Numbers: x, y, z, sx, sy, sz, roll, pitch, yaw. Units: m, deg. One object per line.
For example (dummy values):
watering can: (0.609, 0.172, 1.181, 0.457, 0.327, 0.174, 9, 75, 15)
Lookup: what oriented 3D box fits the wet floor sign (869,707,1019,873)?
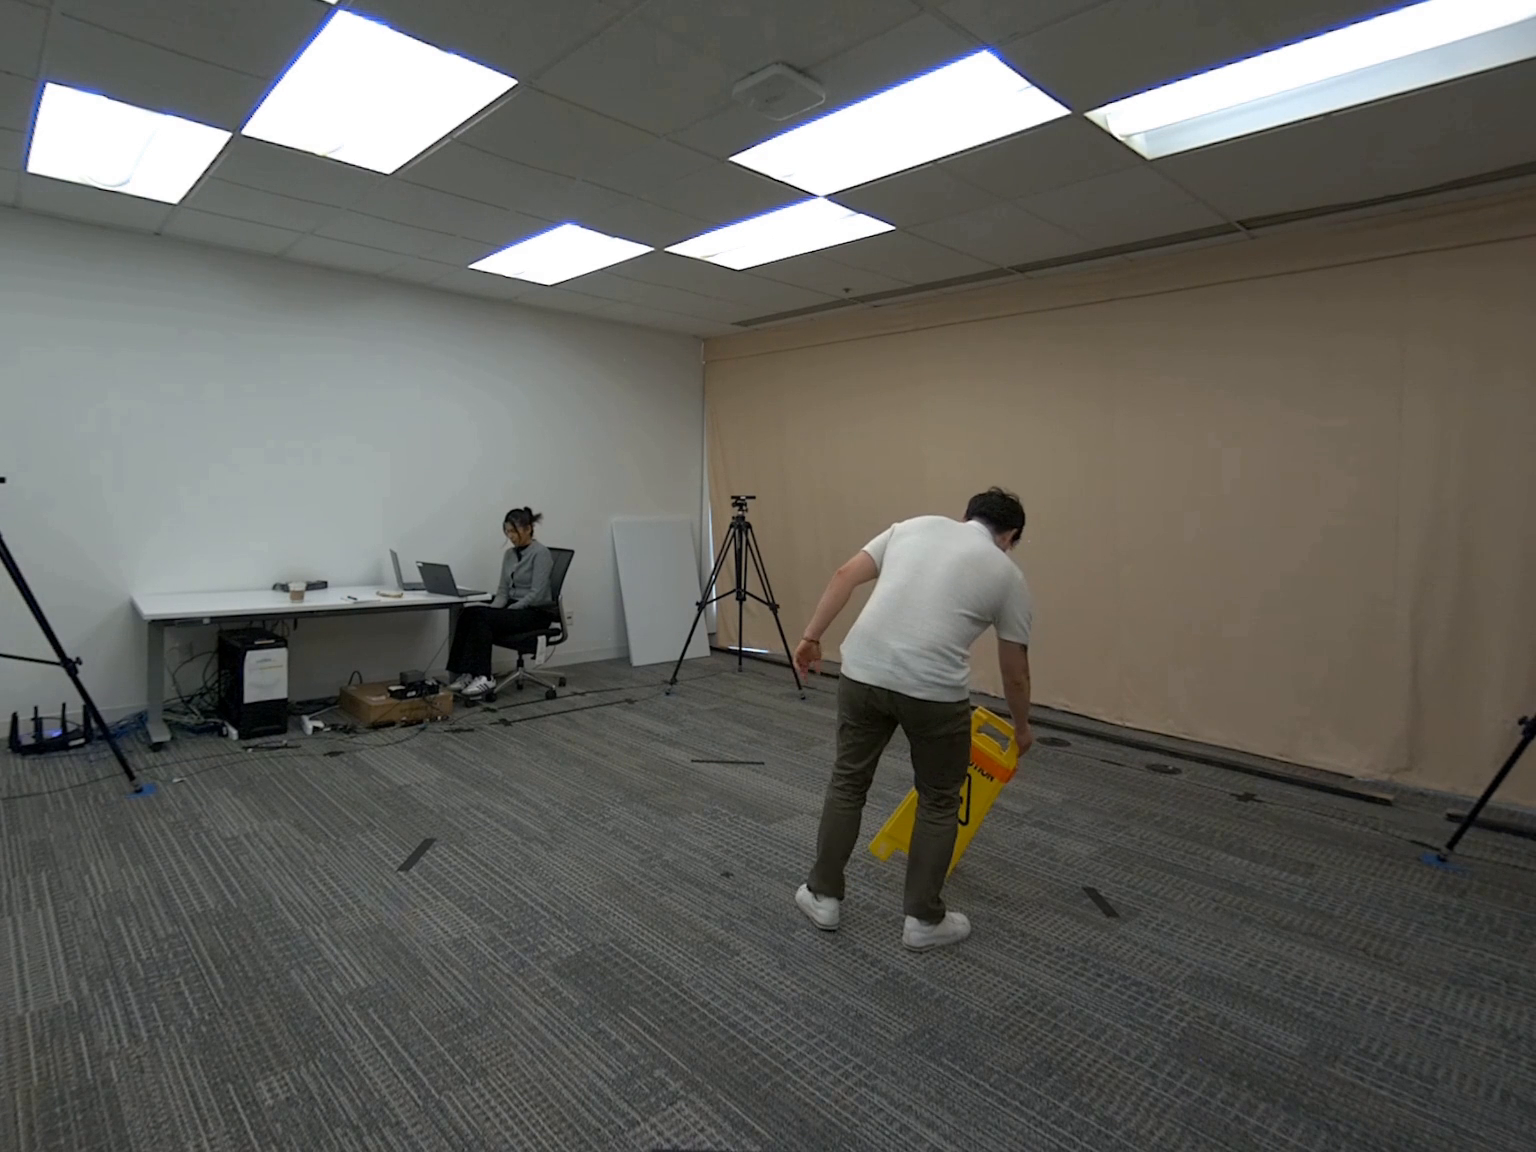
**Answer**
wet floor sign: (0.671, 0.783, 3.049, 0.288, 0.643, 0.285, 34, 16, 19)
